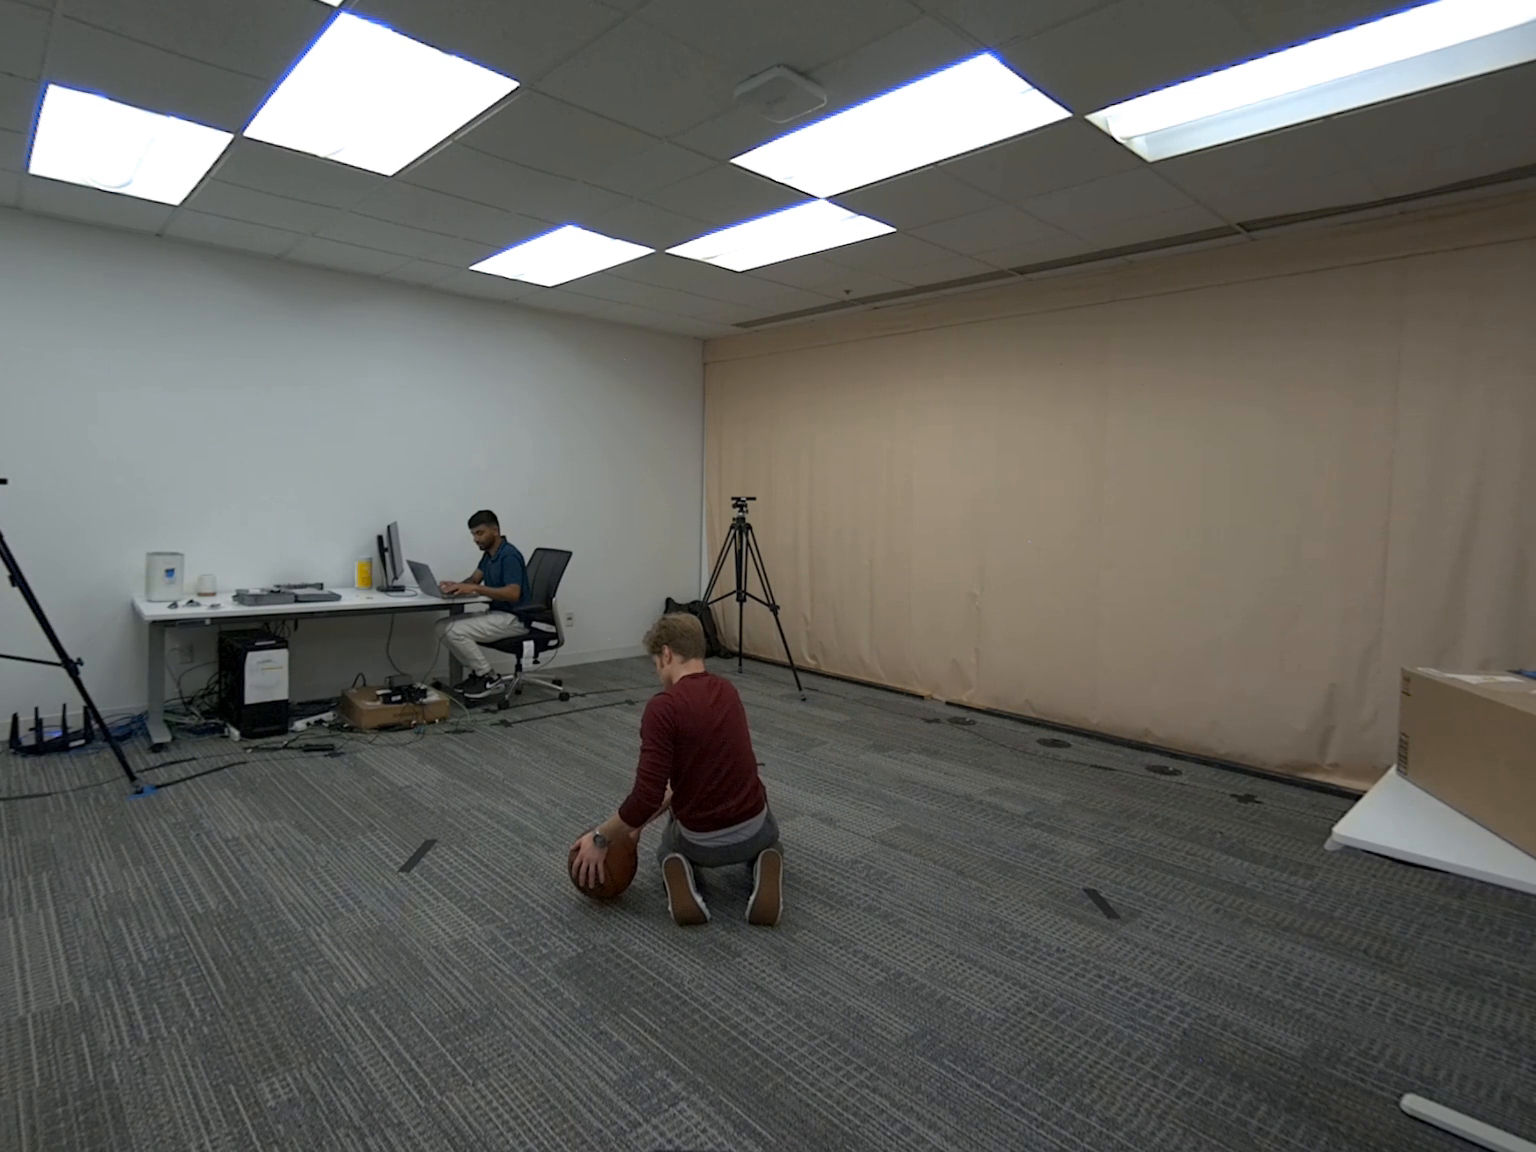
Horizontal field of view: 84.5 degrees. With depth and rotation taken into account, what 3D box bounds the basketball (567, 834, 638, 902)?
[{"bbox_3d":[-0.565,0.959,2.884,0.236,0.235,0.237,1,4,-1],"label":"basketball"}]
